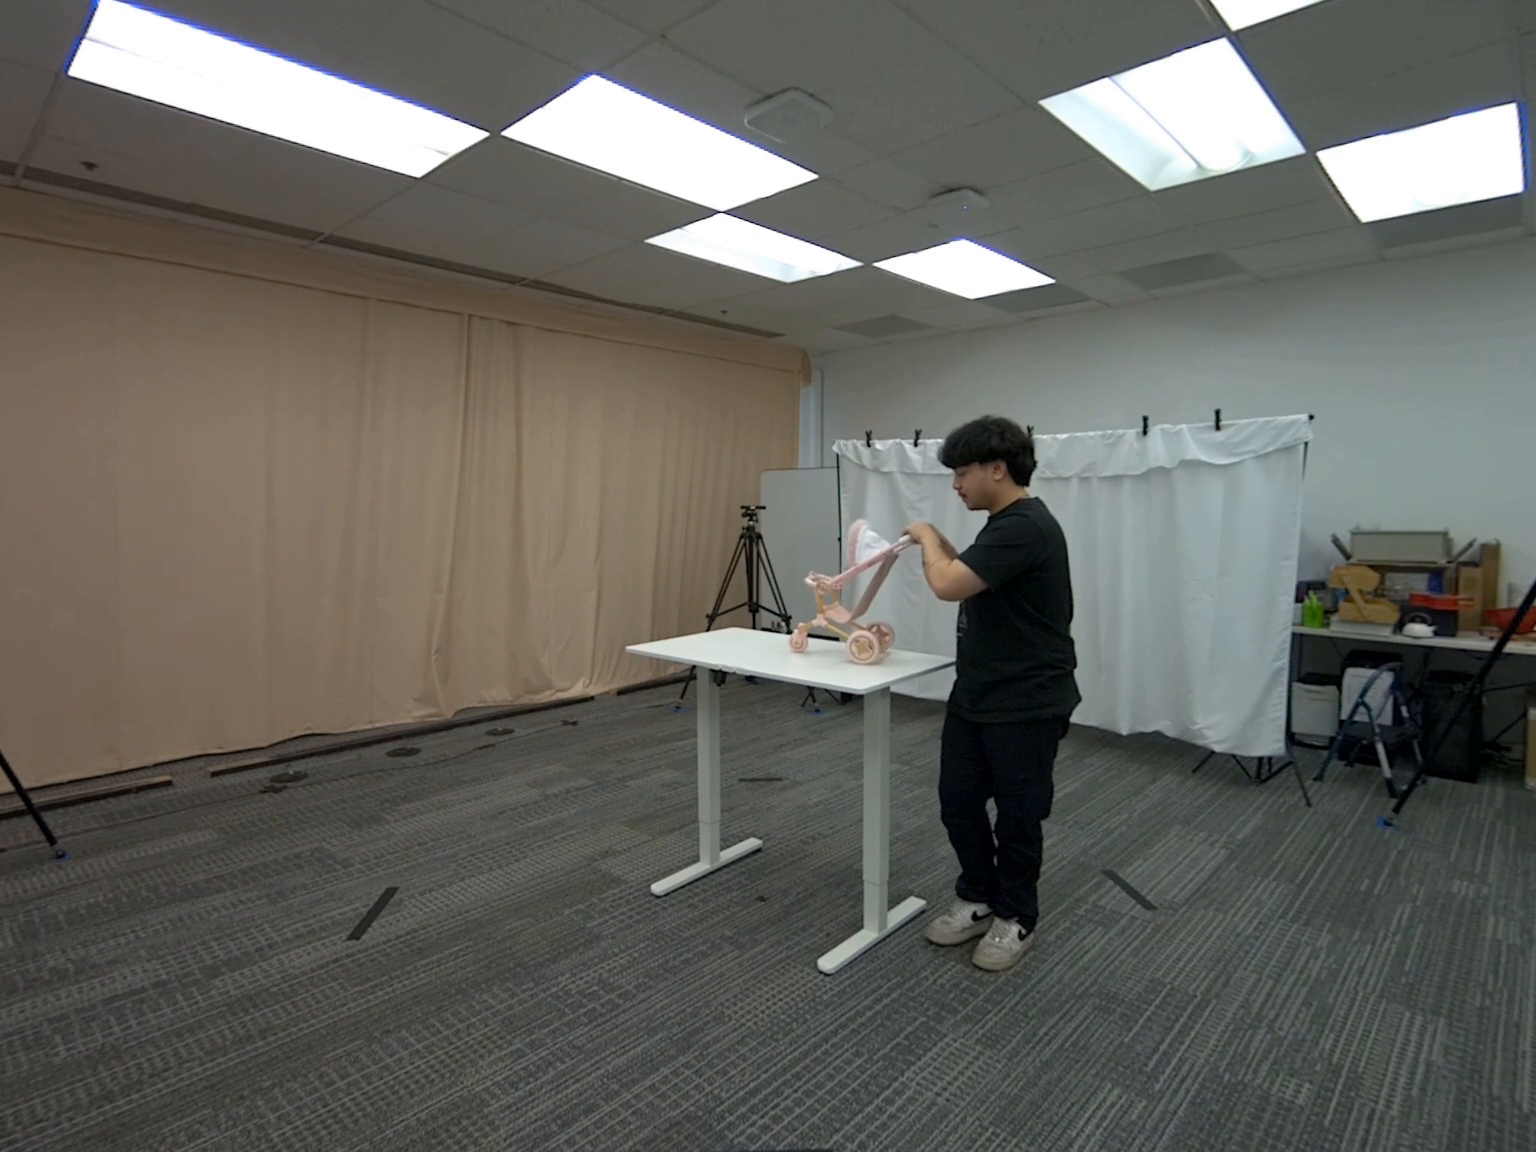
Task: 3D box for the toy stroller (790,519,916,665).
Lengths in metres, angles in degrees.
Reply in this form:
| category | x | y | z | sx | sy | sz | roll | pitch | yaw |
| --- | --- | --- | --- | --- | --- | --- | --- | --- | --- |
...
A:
| category | x | y | z | sx | sy | sz | roll | pitch | yaw |
| --- | --- | --- | --- | --- | --- | --- | --- | --- | --- |
| toy stroller | 0.288 | 0.050 | 2.840 | 0.351 | 0.533 | 0.274 | 19 | 11 | 25 |
